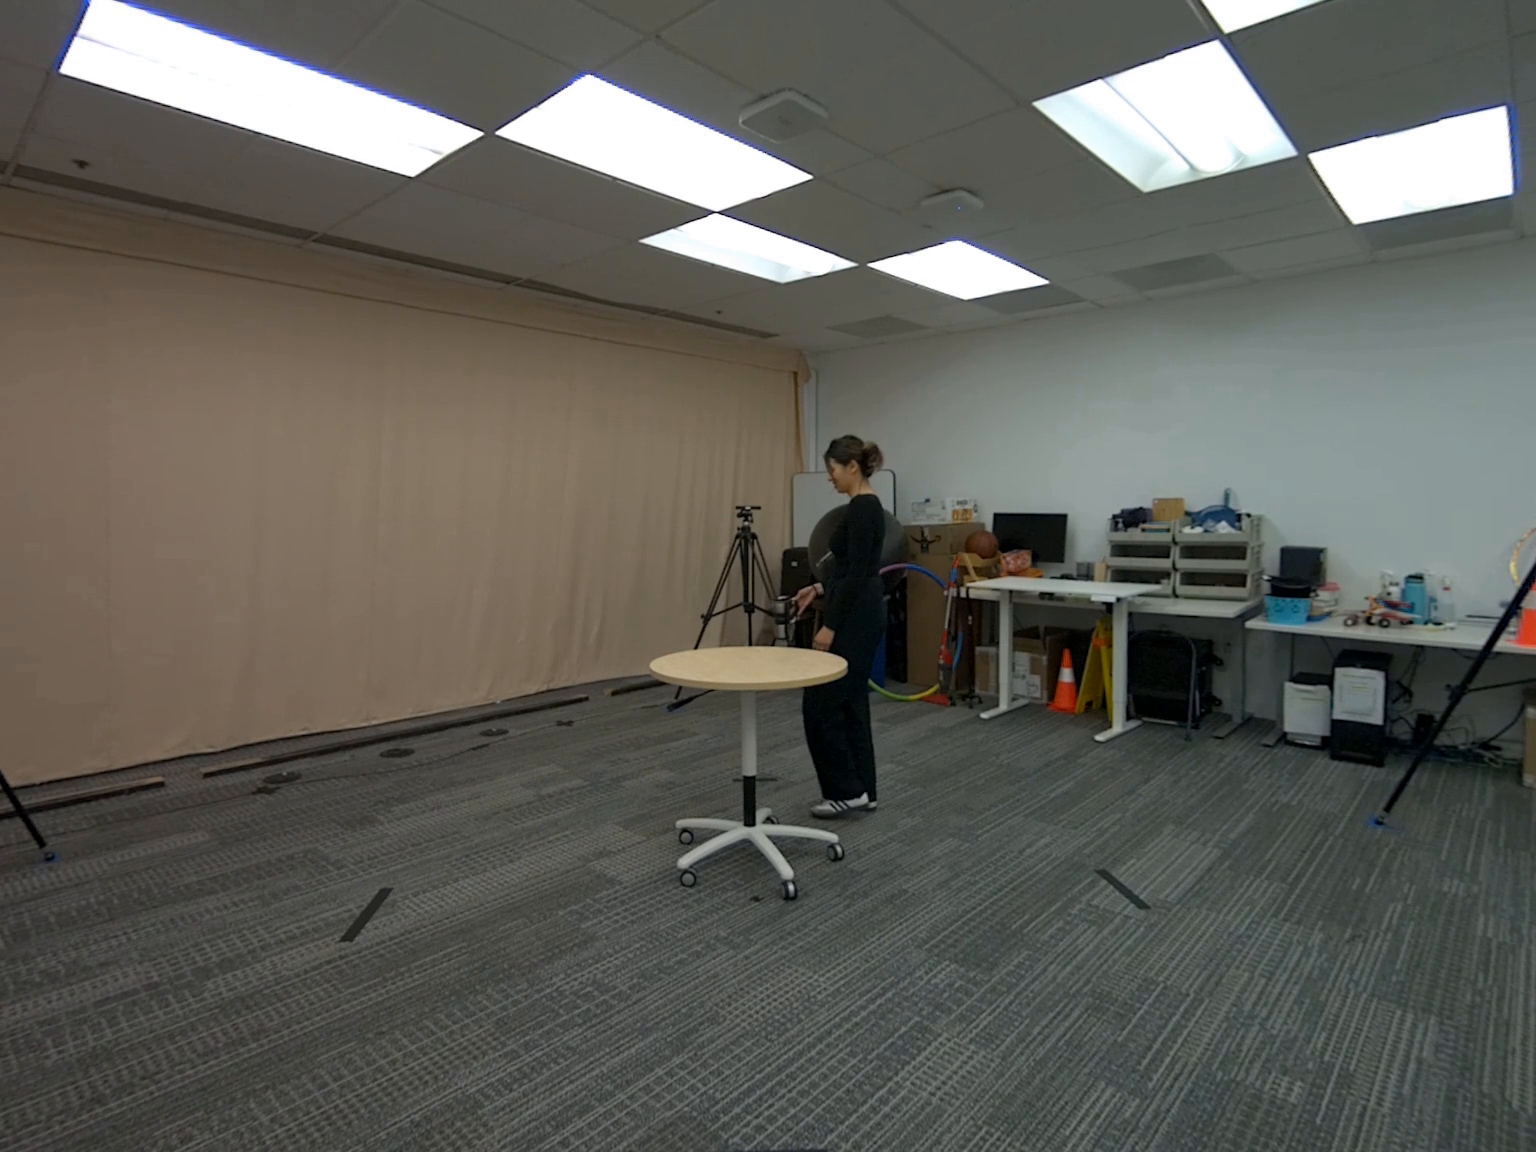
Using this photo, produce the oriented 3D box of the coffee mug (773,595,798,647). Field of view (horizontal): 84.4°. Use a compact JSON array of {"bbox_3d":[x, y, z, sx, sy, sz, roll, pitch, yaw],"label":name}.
[{"bbox_3d":[0.074,0.212,4.003,0.088,0.202,0.122,4,4,2],"label":"coffee mug"}]
